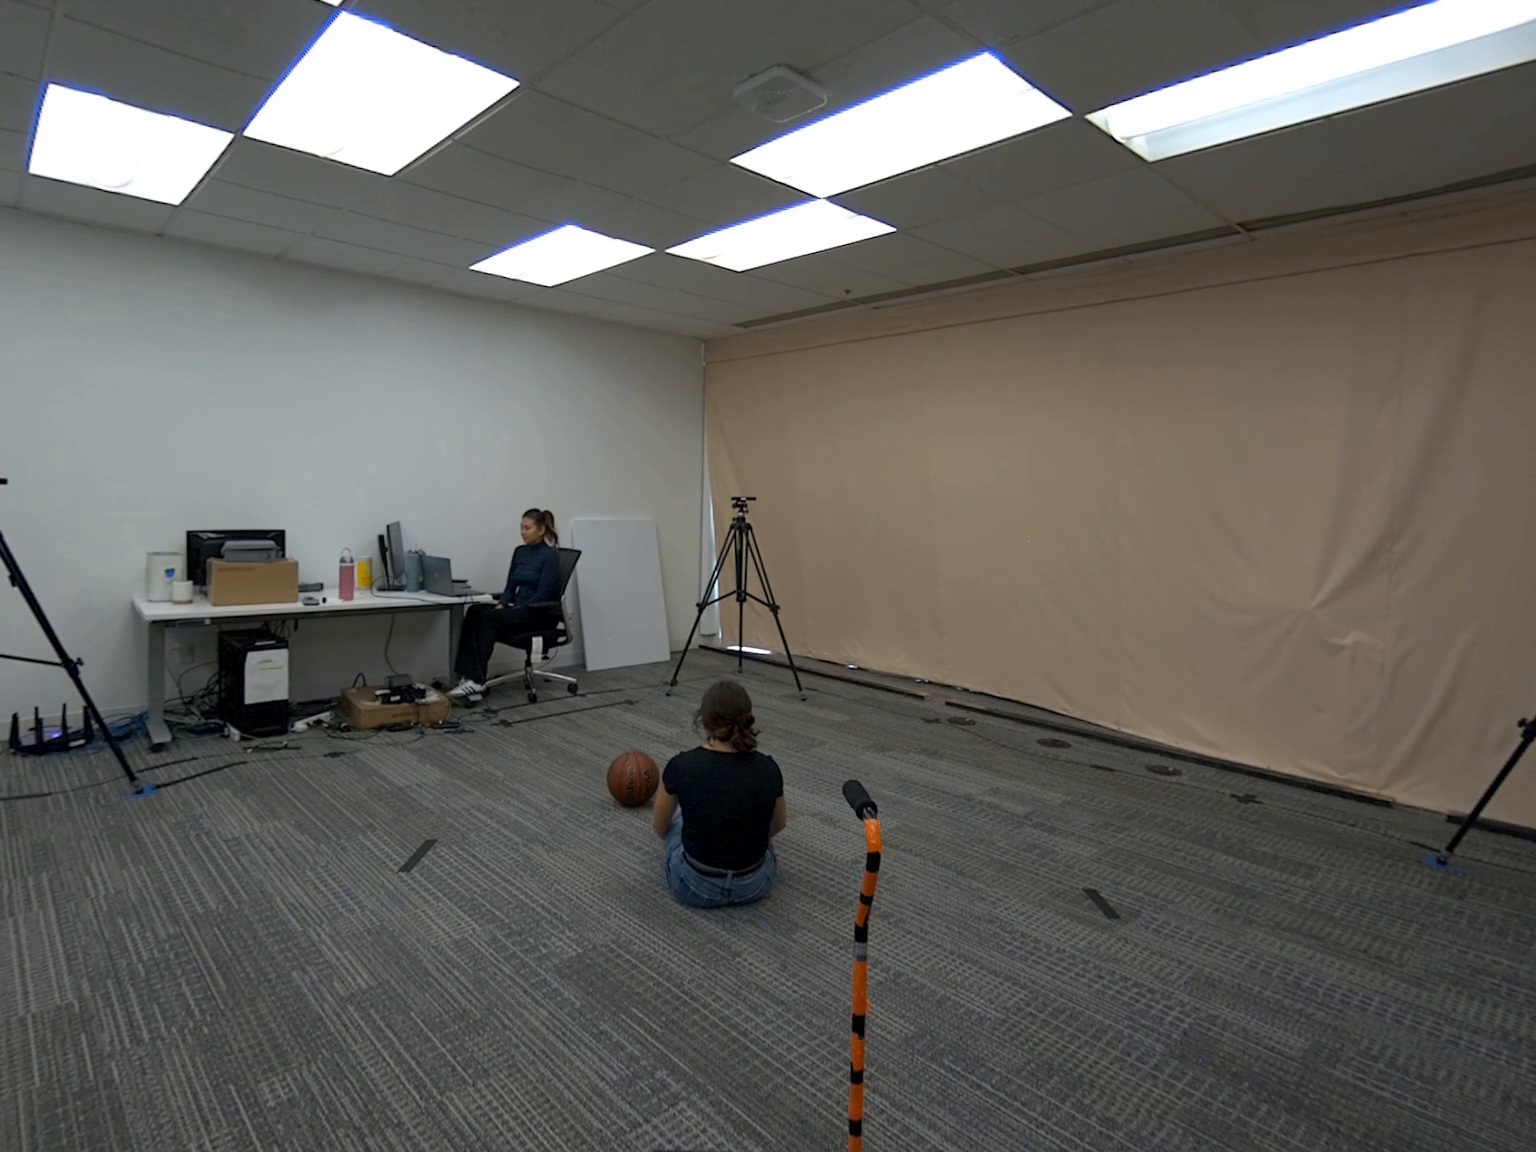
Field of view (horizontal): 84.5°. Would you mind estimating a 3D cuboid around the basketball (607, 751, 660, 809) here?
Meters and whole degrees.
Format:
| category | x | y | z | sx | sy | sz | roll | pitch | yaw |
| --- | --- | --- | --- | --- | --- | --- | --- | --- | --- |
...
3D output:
| category | x | y | z | sx | sy | sz | roll | pitch | yaw |
| --- | --- | --- | --- | --- | --- | --- | --- | --- | --- |
| basketball | -0.619 | 0.912 | 3.811 | 0.236 | 0.235 | 0.237 | 1 | 4 | -1 |
